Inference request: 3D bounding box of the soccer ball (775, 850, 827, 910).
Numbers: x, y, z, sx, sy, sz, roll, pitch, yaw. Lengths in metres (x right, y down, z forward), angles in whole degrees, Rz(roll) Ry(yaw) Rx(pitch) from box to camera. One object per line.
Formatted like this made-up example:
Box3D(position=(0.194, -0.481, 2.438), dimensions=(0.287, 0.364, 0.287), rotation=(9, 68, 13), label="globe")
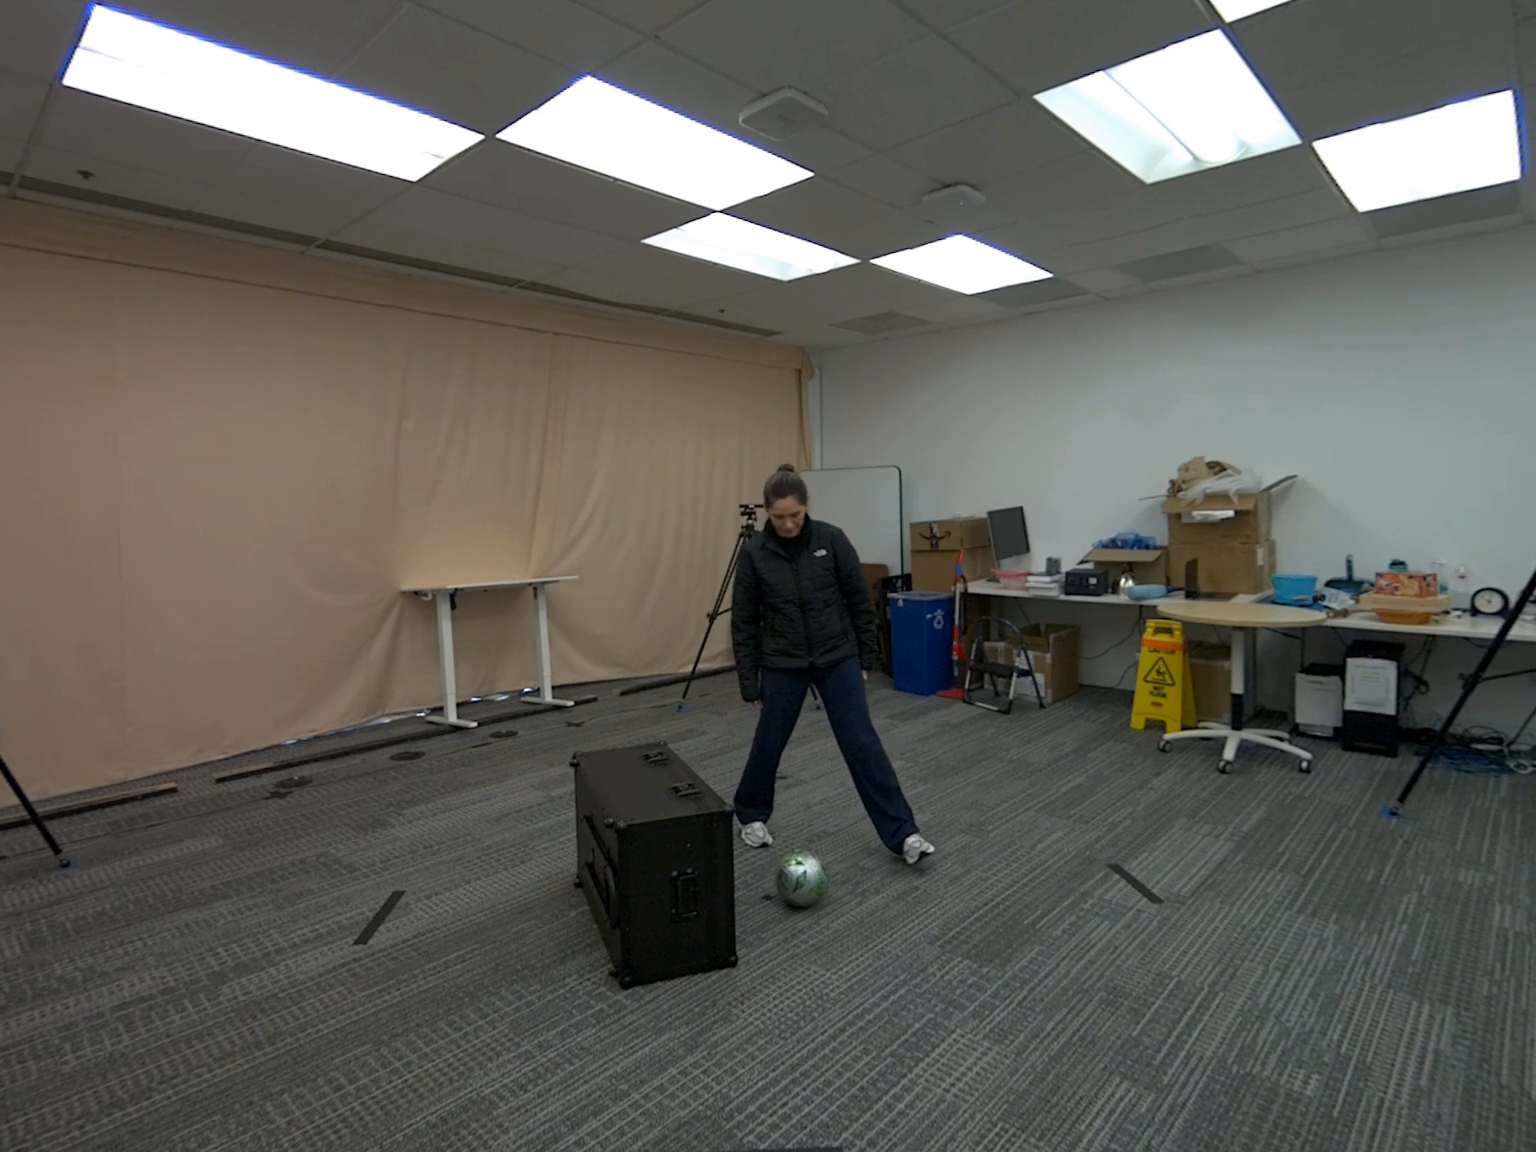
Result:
Box3D(position=(0.119, 1.048, 2.910), dimensions=(0.187, 0.187, 0.188), rotation=(-1, 4, -2), label="soccer ball")
